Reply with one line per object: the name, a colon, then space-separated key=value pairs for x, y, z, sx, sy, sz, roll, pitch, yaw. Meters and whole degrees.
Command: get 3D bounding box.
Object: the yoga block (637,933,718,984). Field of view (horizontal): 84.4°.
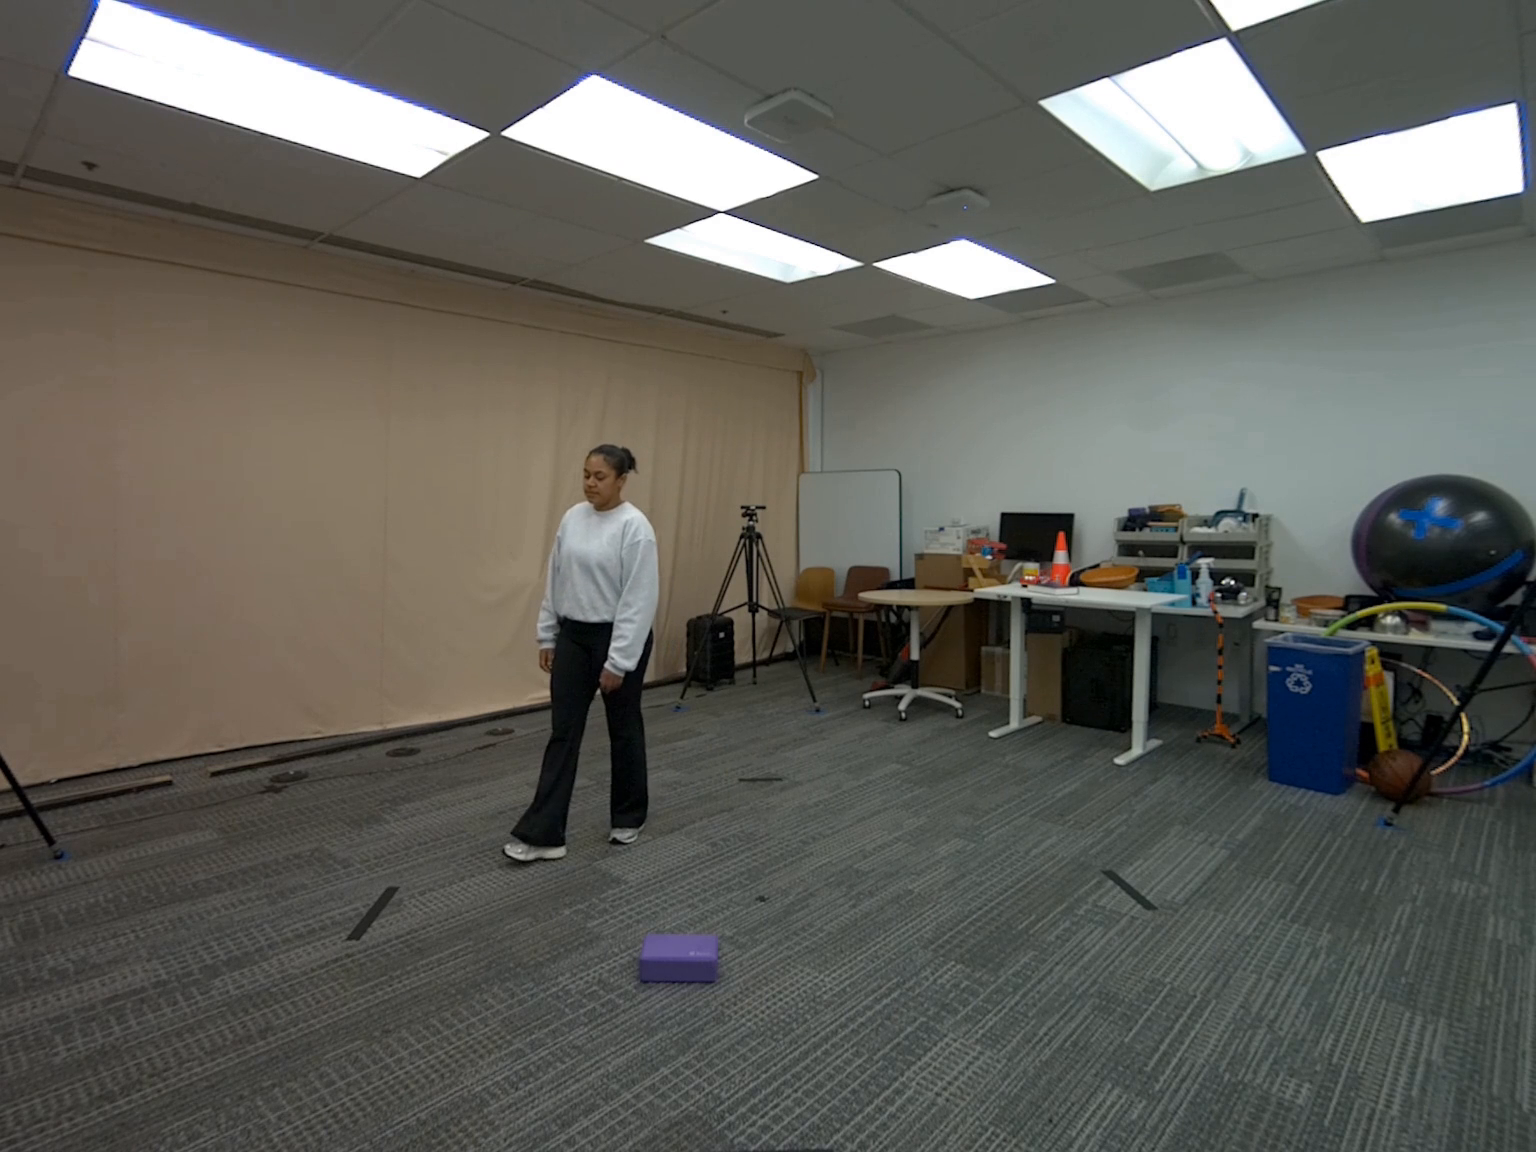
yoga block: x=-0.263 y=1.144 z=2.520 sx=0.230 sy=0.076 sz=0.149 roll=0 pitch=2 yaw=1
